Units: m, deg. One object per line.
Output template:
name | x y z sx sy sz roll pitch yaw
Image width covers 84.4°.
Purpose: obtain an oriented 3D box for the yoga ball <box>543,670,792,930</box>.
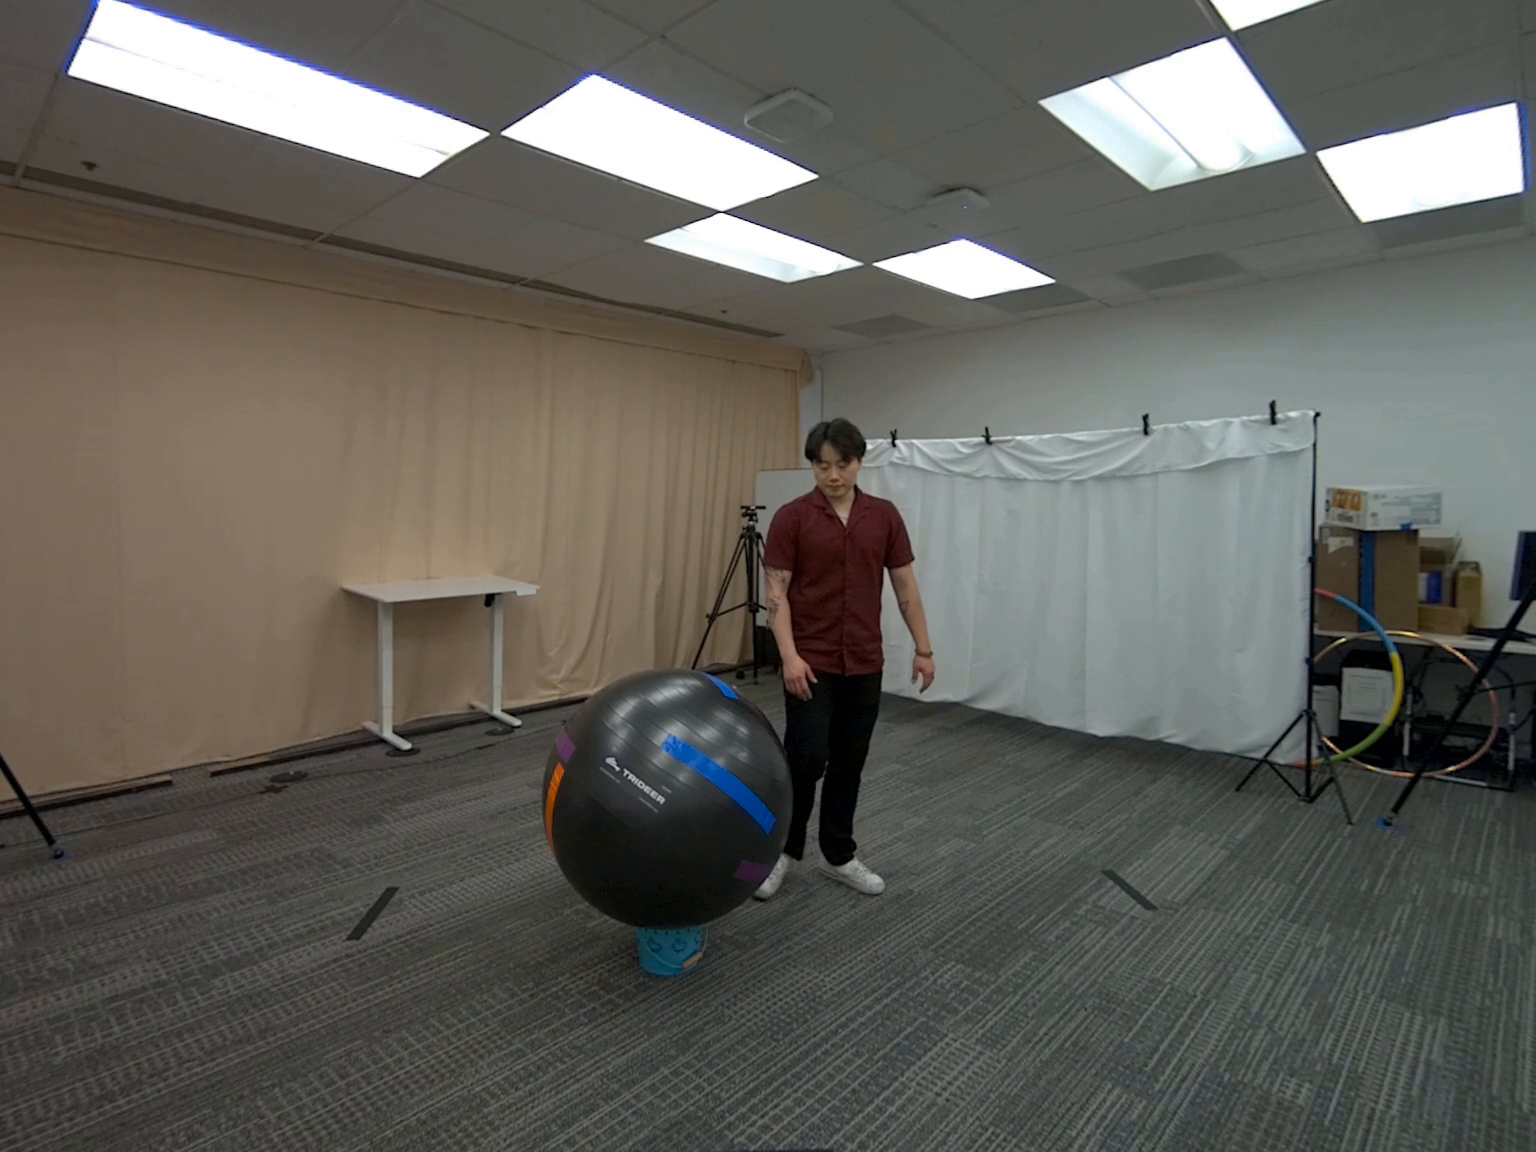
yoga ball | -0.311 0.671 2.564 0.757 0.756 0.760 0 4 -2
